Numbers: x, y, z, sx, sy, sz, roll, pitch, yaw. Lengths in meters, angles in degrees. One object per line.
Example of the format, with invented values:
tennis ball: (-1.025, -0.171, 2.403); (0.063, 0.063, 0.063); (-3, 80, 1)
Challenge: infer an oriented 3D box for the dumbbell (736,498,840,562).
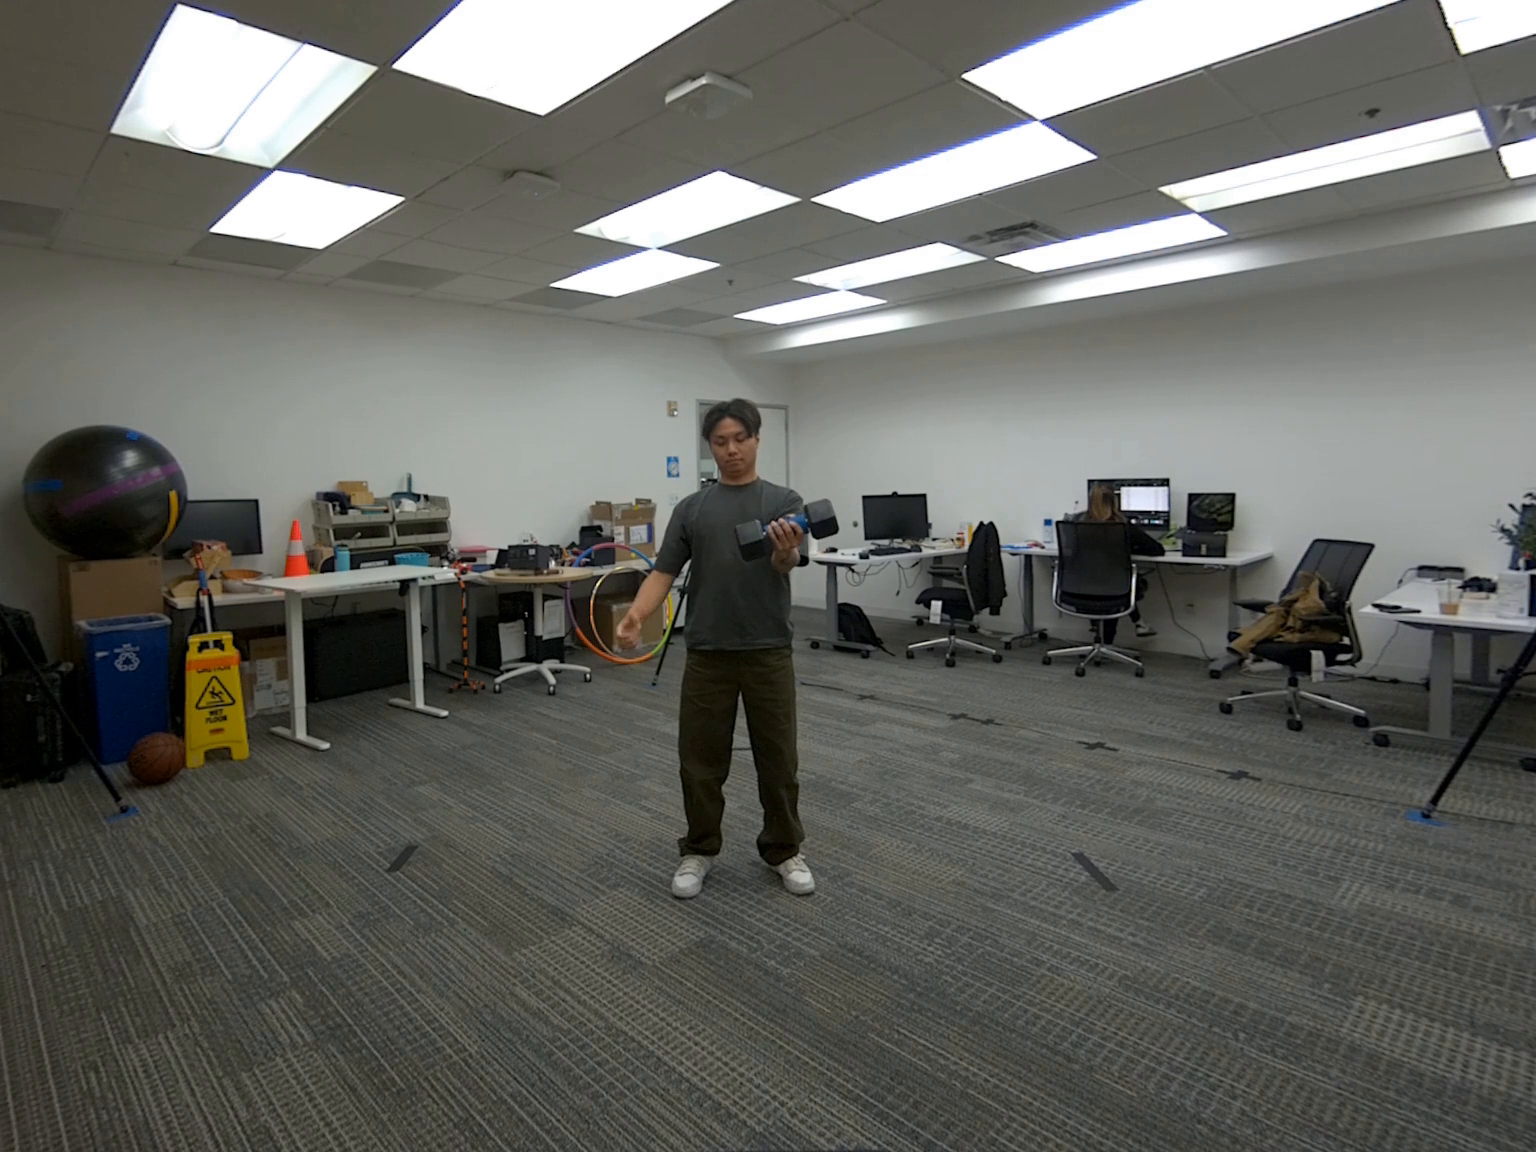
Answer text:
dumbbell: (0.054, -0.136, 2.475); (0.294, 0.126, 0.106); (-18, -23, 3)
